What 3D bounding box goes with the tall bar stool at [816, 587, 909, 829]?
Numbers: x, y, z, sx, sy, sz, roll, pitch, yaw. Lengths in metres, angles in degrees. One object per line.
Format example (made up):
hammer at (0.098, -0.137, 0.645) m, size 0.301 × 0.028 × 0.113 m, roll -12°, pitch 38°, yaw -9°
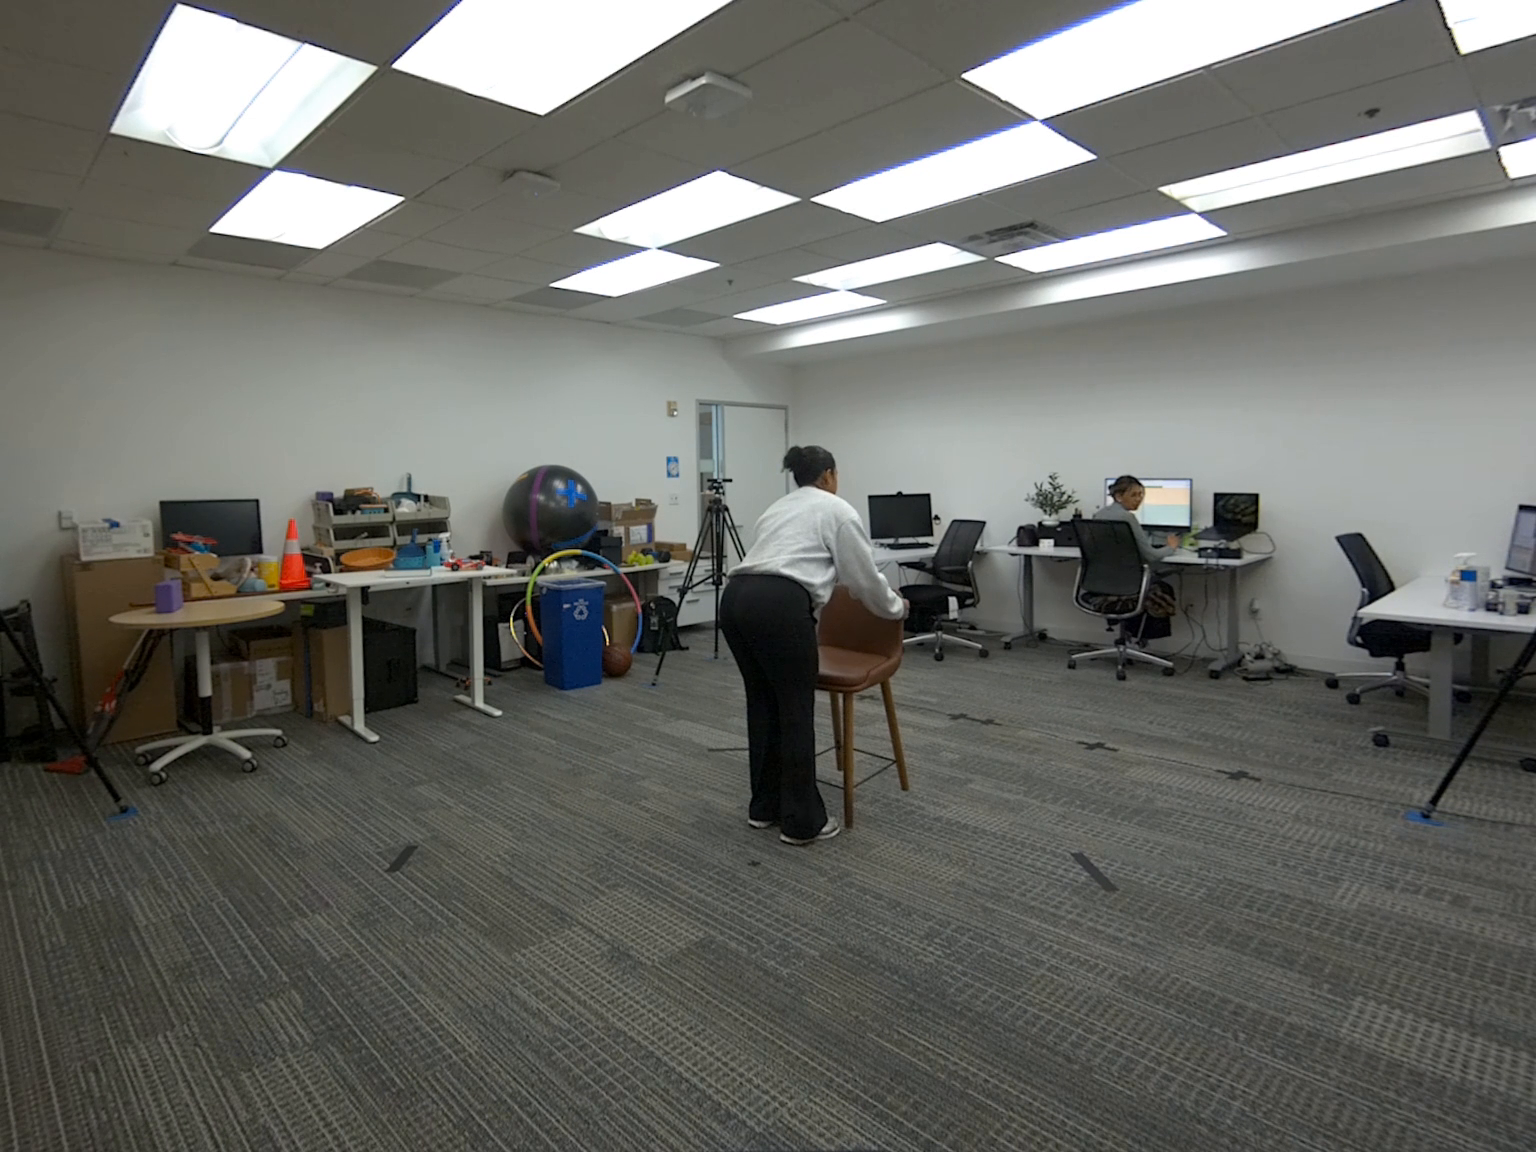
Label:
tall bar stool at (0.306, 0.509, 3.603) m, size 0.471 × 0.884 × 0.456 m, roll 4°, pitch 9°, yaw 44°
